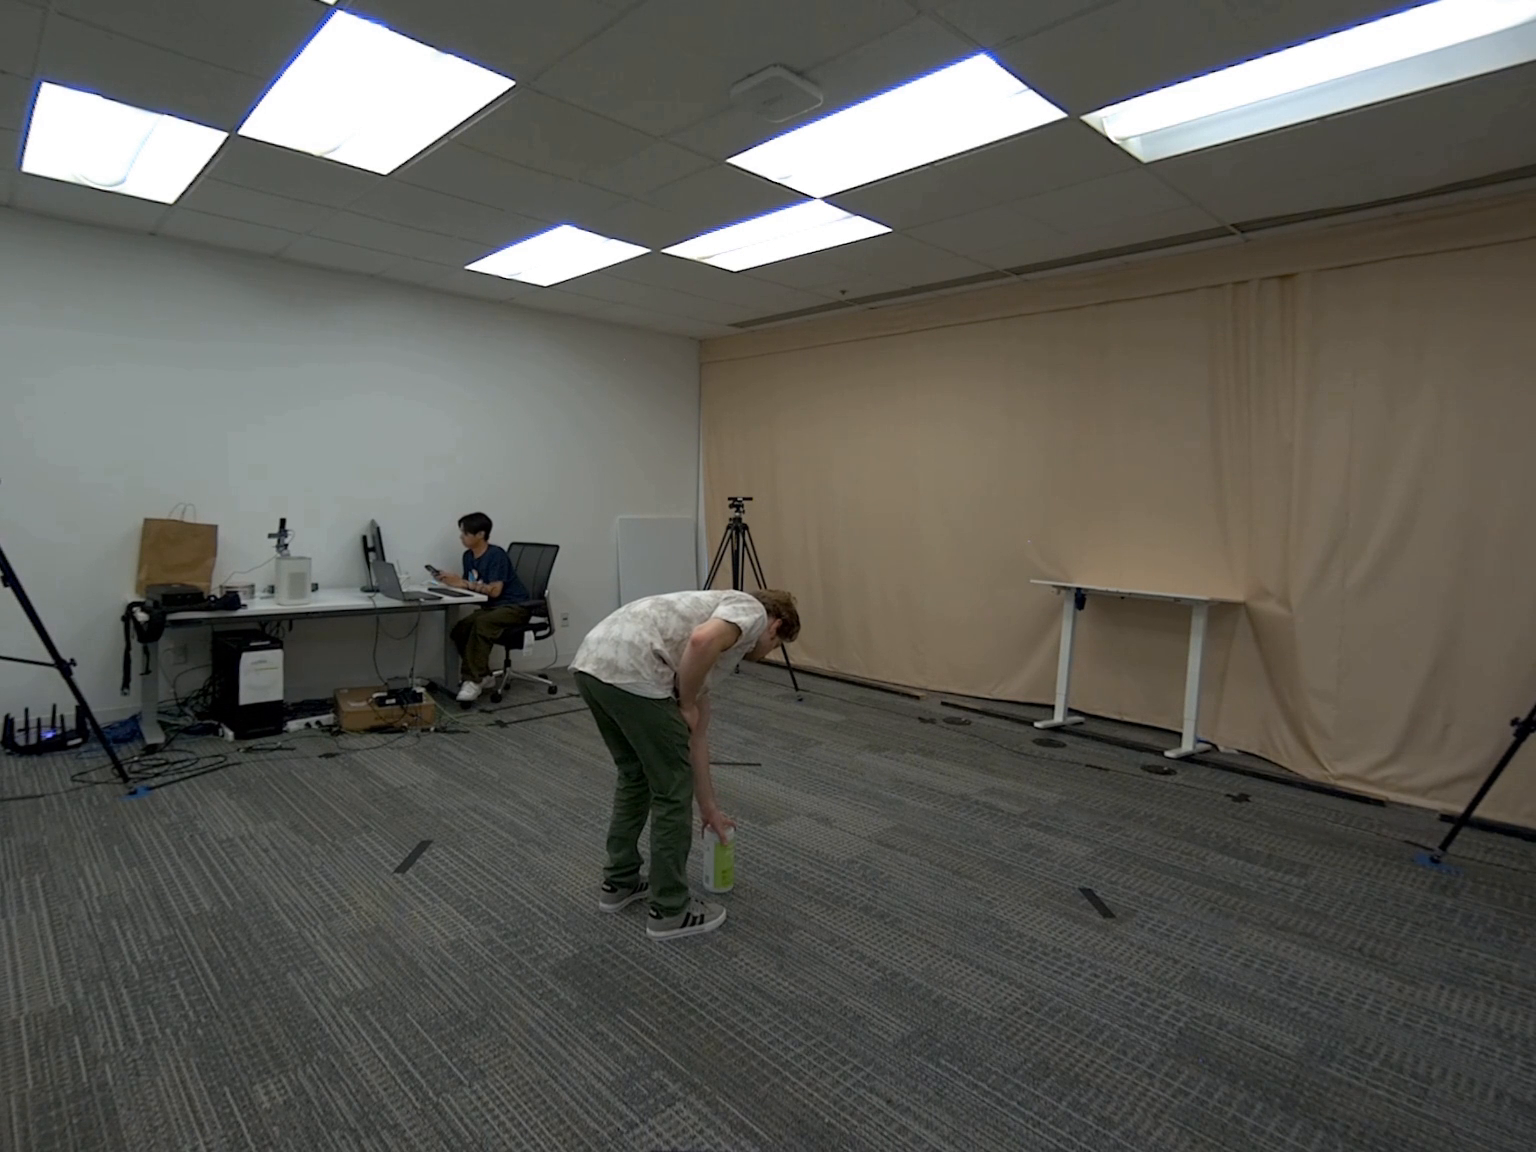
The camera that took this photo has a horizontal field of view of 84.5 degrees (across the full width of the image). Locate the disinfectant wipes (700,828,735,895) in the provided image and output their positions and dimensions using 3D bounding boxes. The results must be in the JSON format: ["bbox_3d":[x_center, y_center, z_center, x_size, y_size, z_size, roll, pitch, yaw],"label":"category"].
[{"bbox_3d":[-0.182,1.013,3.004,0.118,0.217,0.118,1,4,-1],"label":"disinfectant wipes"}]
